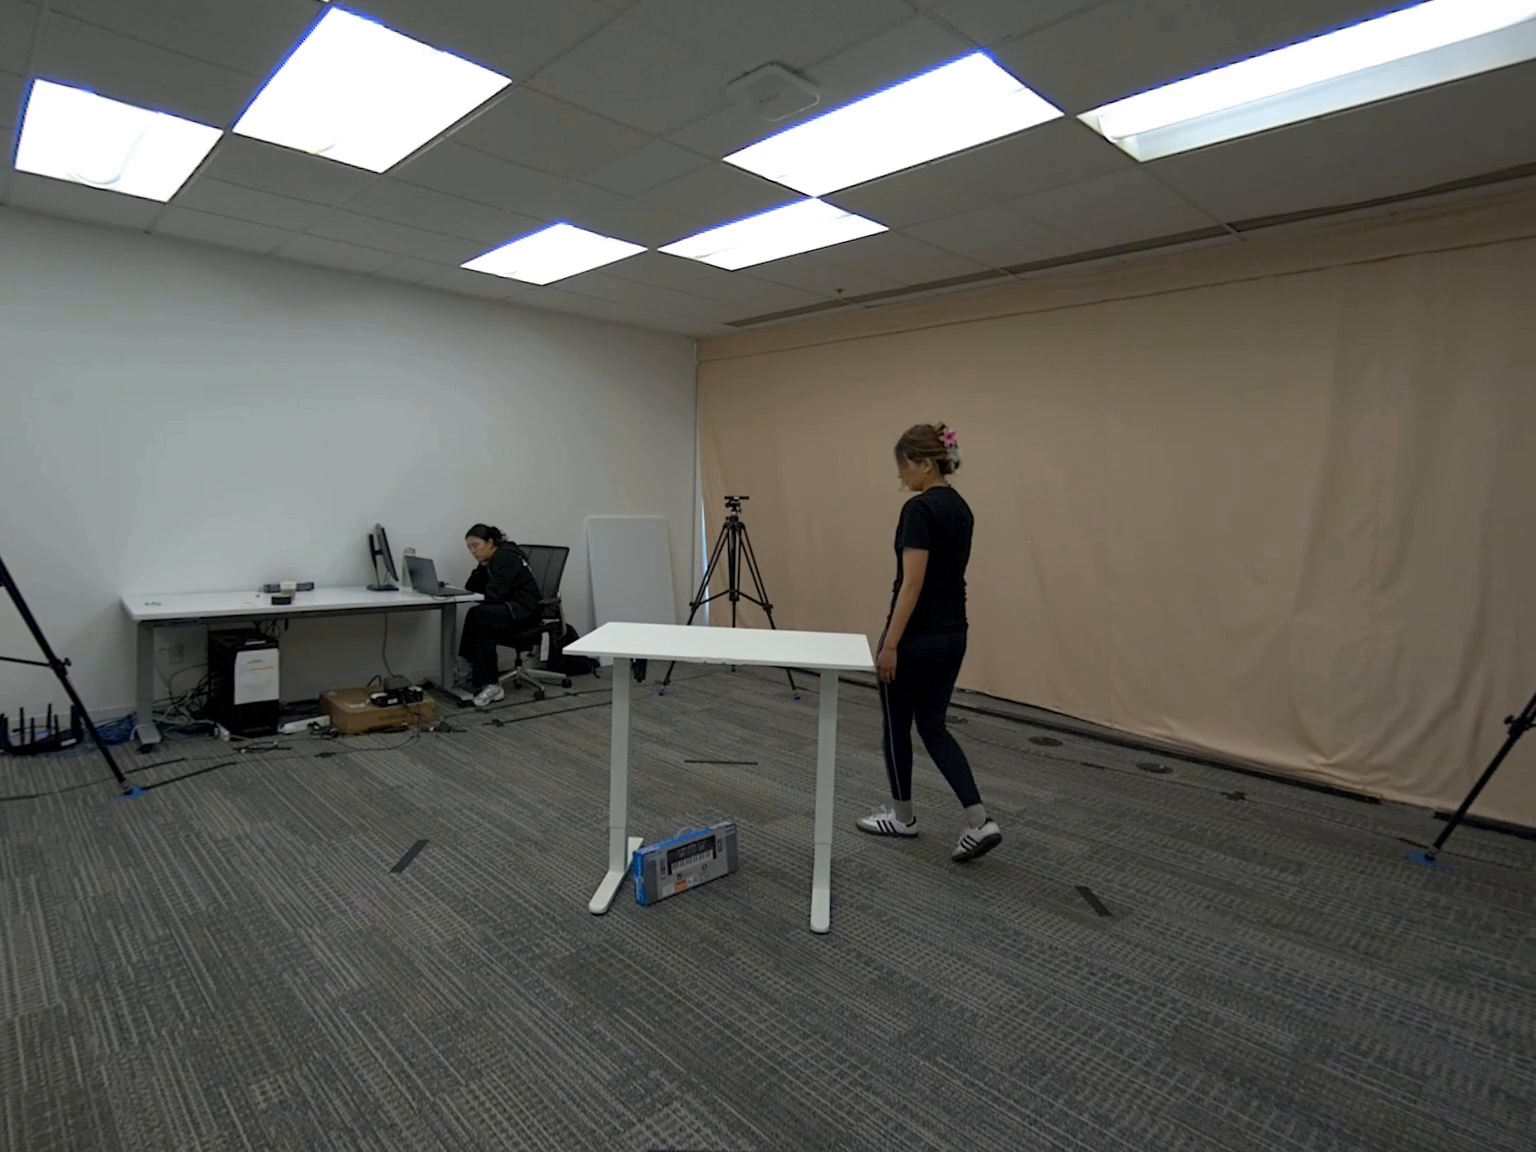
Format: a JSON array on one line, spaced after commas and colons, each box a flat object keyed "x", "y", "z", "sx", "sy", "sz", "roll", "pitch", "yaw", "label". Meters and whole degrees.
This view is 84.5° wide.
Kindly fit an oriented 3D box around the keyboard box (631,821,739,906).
[{"x": -0.292, "y": 1.022, "z": 3.011, "sx": 0.427, "sy": 0.176, "sz": 0.060, "roll": -3, "pitch": -2, "yaw": -44, "label": "keyboard box"}]
